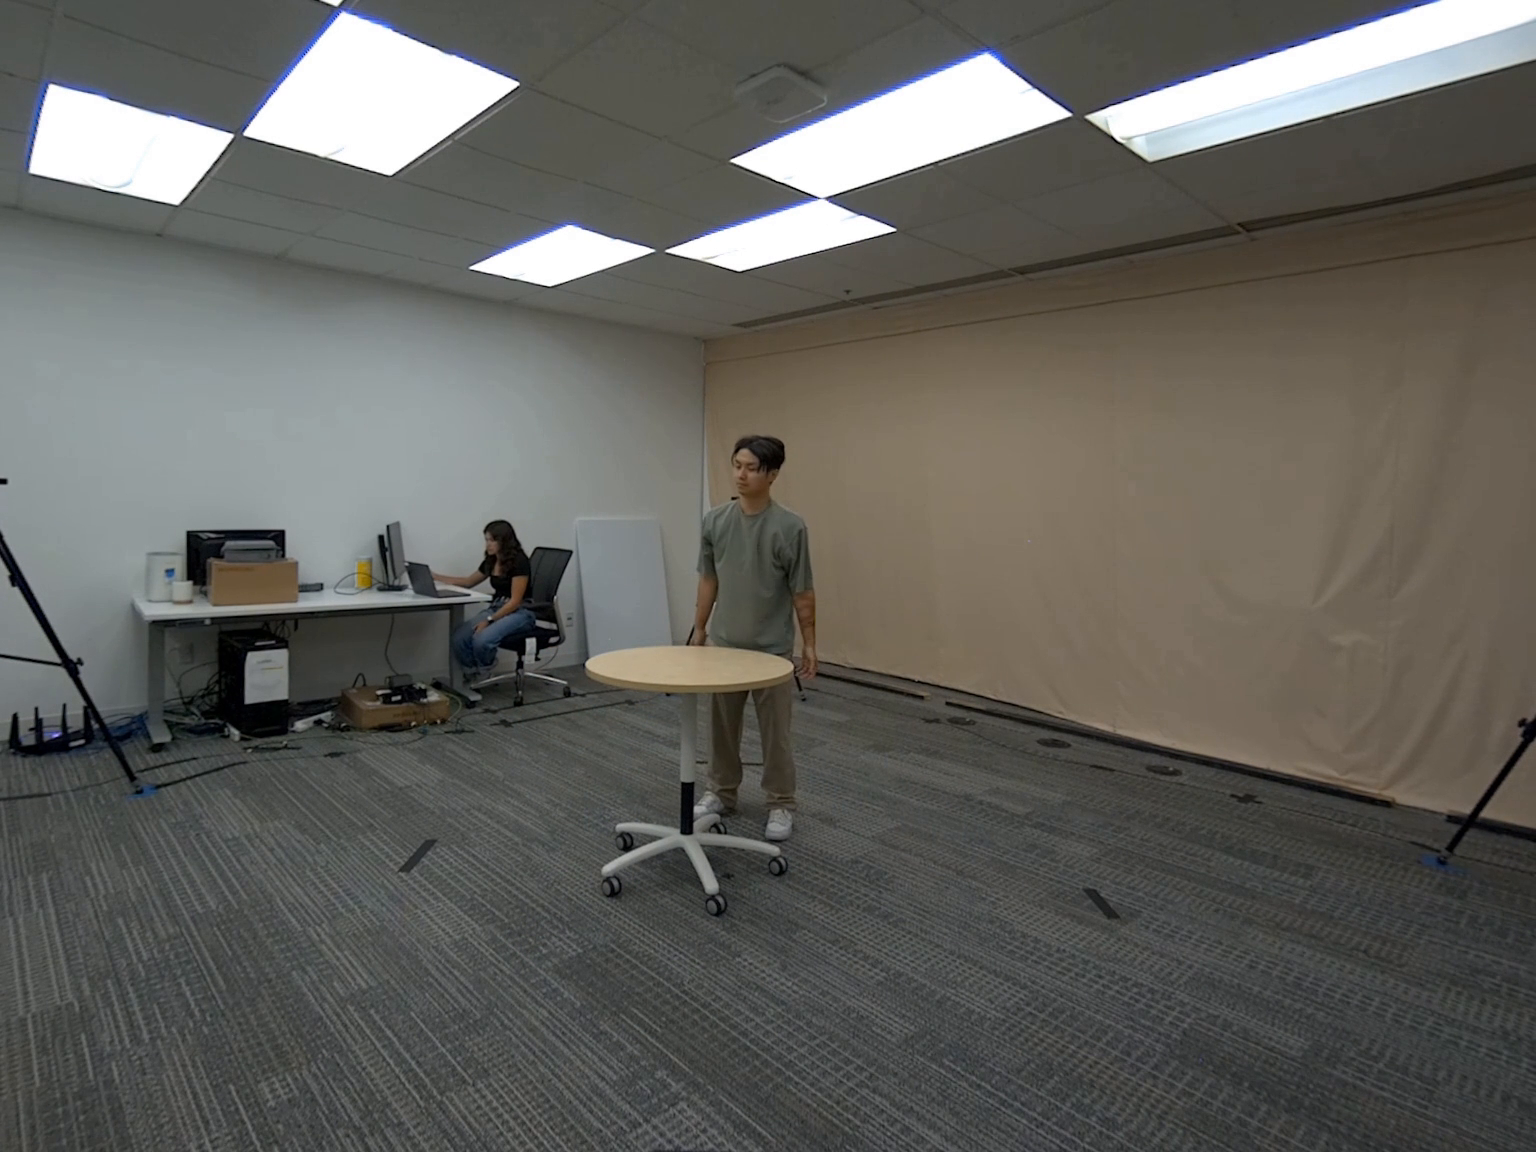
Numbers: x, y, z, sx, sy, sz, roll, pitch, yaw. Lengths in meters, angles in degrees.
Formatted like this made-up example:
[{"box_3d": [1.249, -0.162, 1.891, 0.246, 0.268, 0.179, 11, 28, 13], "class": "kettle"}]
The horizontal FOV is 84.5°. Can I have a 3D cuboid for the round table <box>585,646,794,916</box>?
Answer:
[{"box_3d": [-0.293, 0.713, 3.120, 0.784, 0.785, 0.787, 1, 3, -1], "class": "round table"}]
